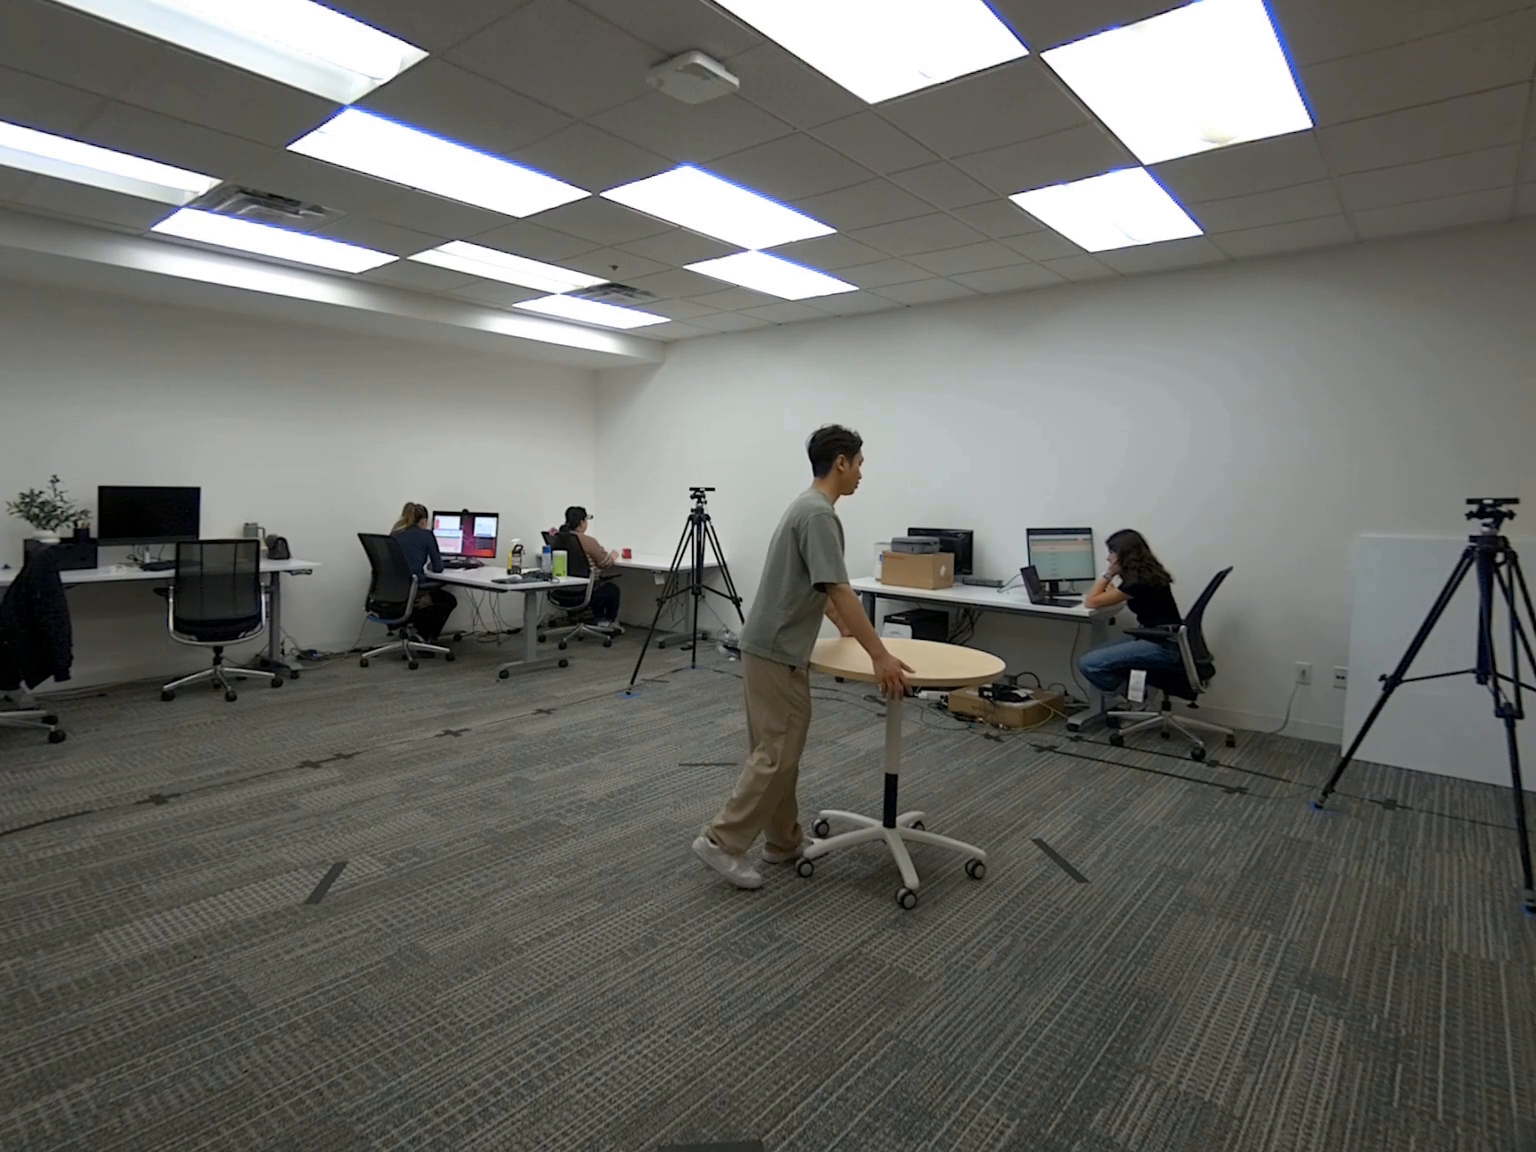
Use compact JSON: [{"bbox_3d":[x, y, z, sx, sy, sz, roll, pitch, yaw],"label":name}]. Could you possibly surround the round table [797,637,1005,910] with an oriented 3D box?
[{"bbox_3d":[0.454,0.683,3.158,0.784,0.784,0.789,2,4,-2],"label":"round table"}]
